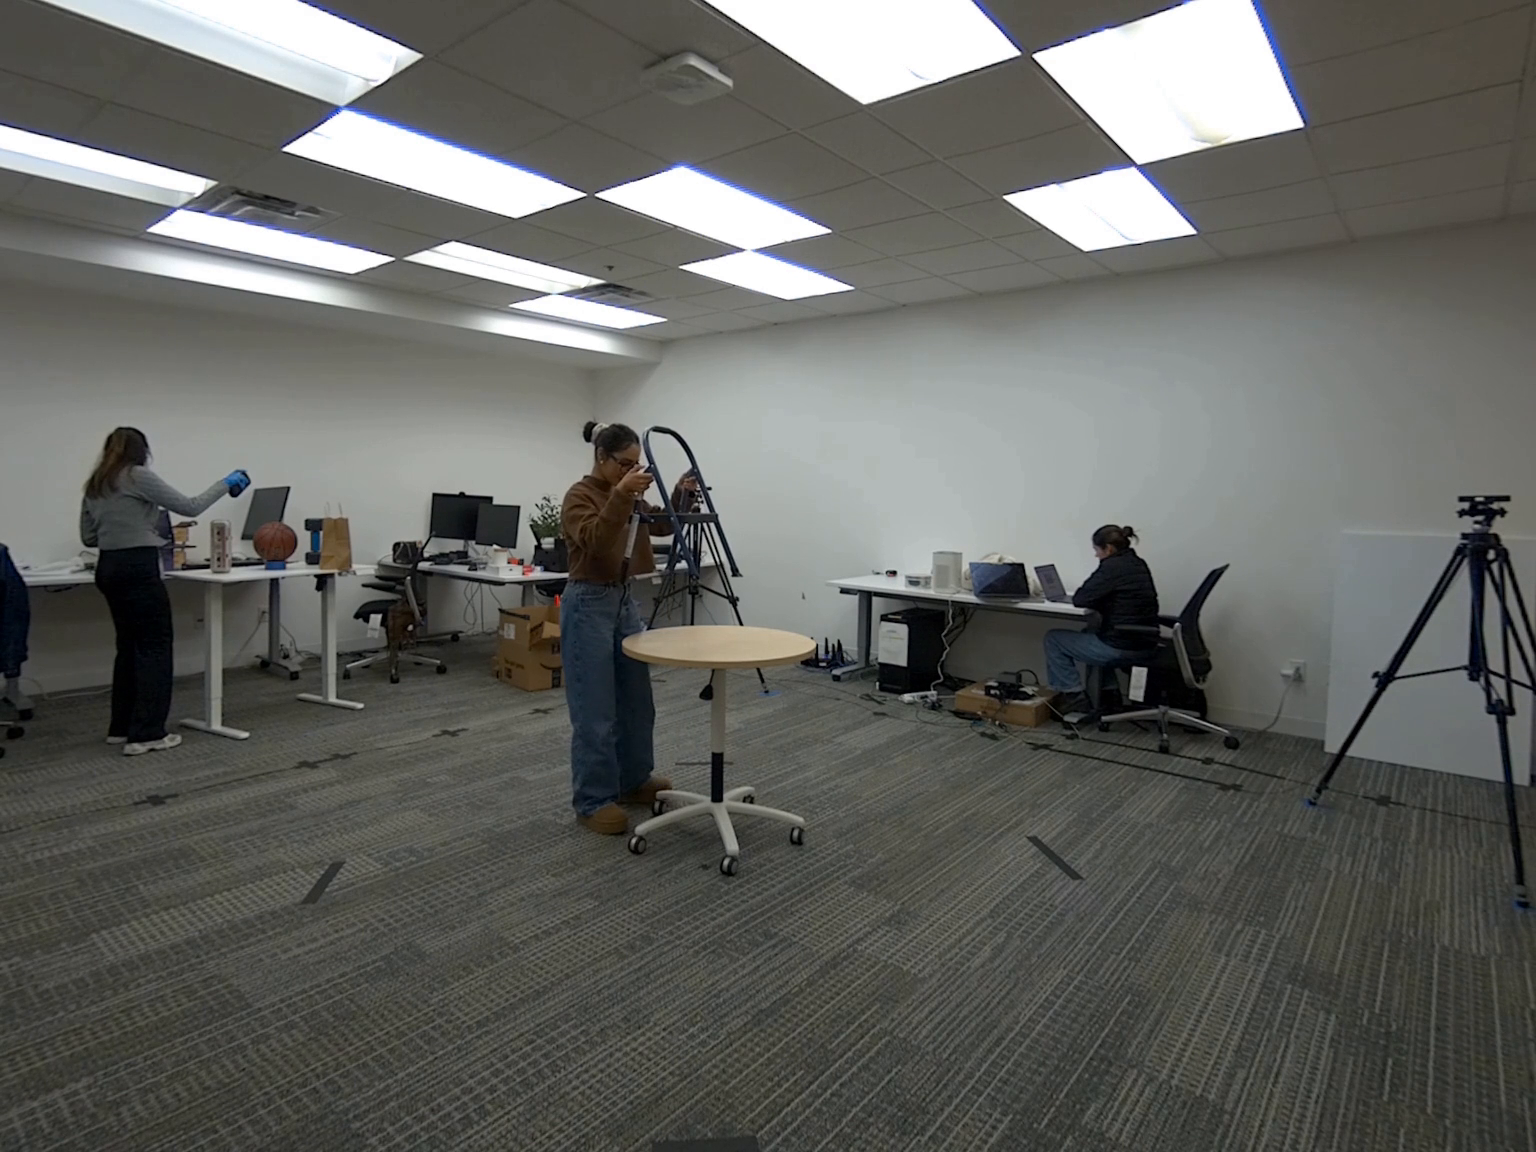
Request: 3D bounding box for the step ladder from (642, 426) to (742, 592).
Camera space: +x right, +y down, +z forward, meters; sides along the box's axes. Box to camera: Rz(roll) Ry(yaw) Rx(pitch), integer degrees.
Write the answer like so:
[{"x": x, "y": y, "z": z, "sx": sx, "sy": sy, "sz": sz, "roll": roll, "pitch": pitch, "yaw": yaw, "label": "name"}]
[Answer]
[{"x": -0.366, "y": -0.293, "z": 3.356, "sx": 0.357, "sy": 0.605, "sz": 0.422, "roll": -1, "pitch": 2, "yaw": 21, "label": "step ladder"}]
